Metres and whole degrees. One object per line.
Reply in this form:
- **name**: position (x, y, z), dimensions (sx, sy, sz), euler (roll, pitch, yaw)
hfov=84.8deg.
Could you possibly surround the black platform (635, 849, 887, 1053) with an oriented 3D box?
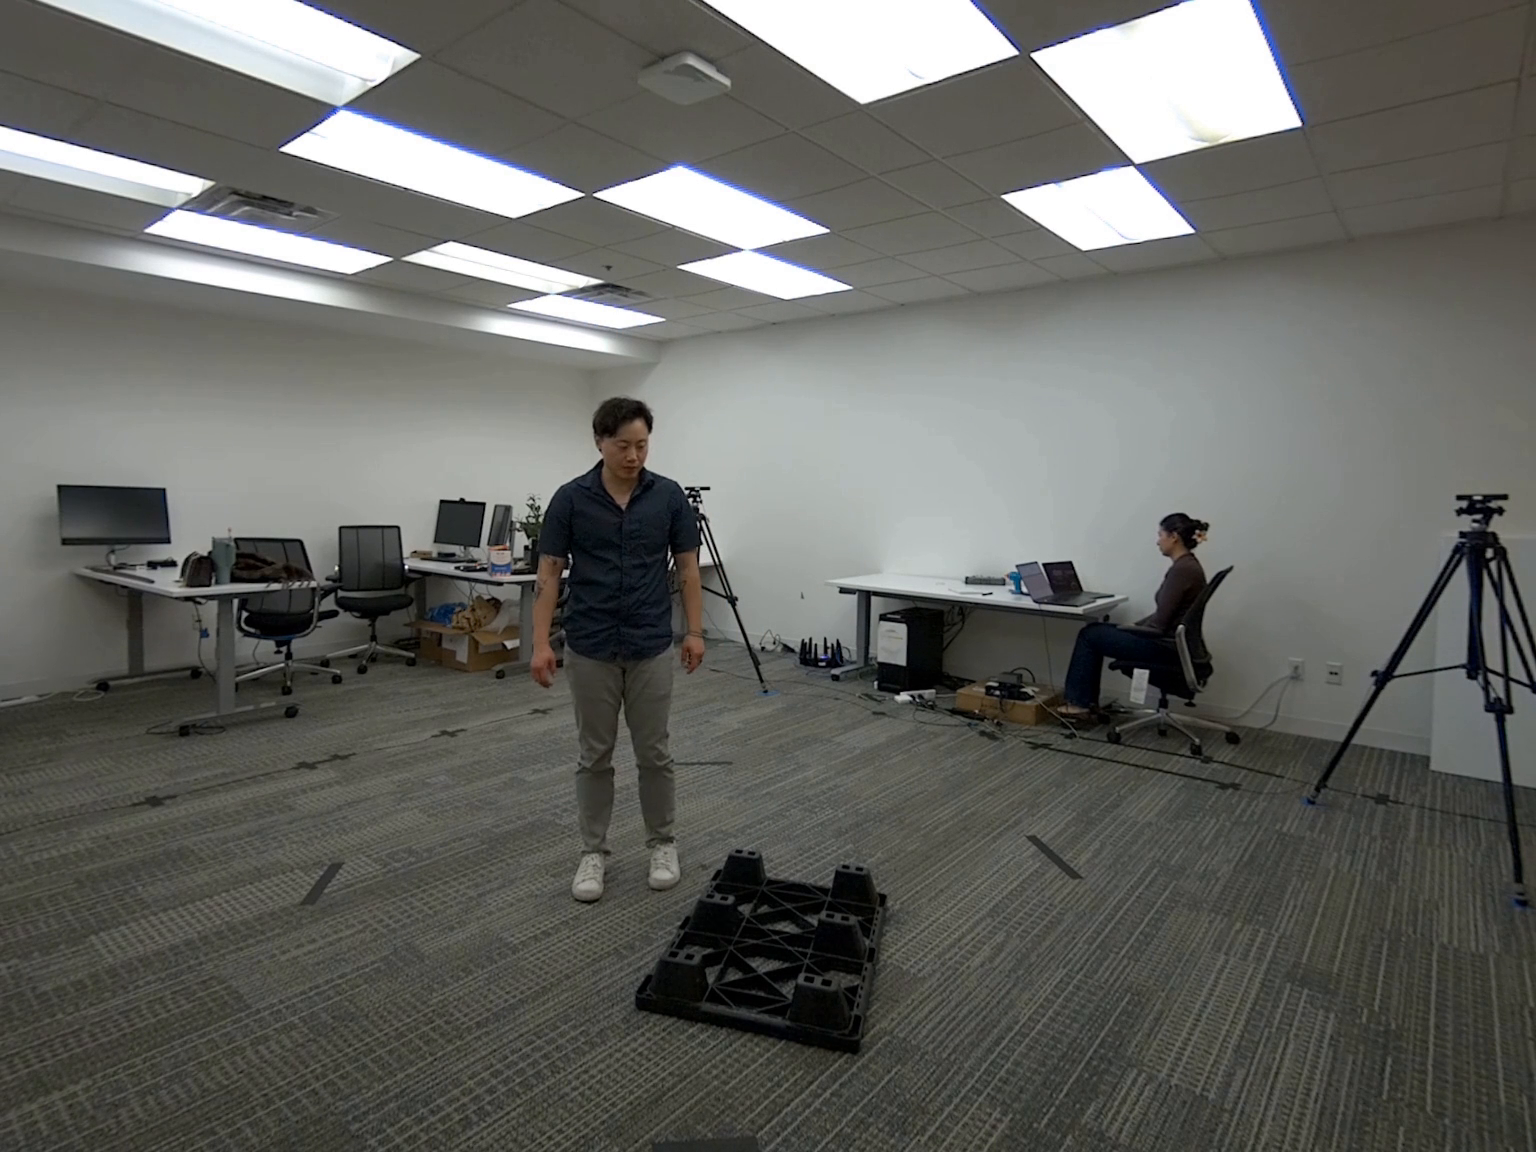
- **black platform**: position (0.022, 1.061, 2.549), dimensions (0.615, 0.143, 0.796), euler (2, 6, 14)
